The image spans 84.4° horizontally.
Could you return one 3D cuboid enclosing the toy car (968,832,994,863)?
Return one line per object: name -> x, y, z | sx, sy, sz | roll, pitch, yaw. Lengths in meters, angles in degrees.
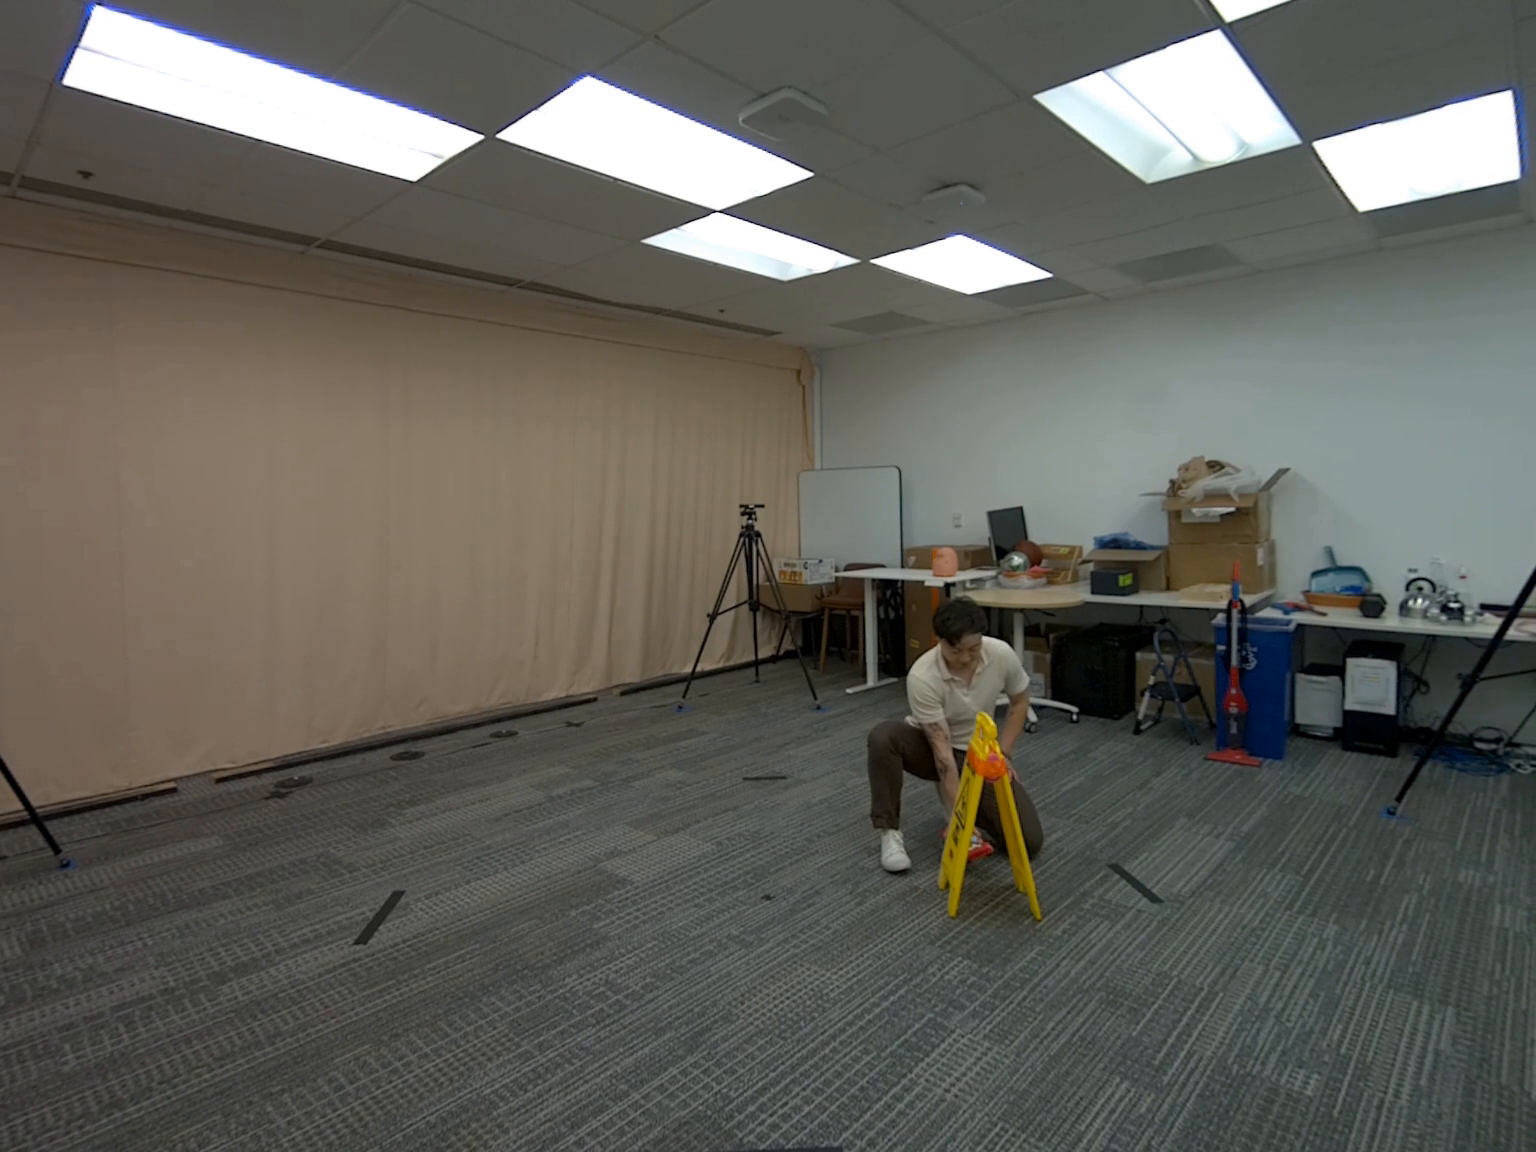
toy car -> 0.755, 1.034, 3.226 | 0.130, 0.082, 0.258 | -19, 13, -5
